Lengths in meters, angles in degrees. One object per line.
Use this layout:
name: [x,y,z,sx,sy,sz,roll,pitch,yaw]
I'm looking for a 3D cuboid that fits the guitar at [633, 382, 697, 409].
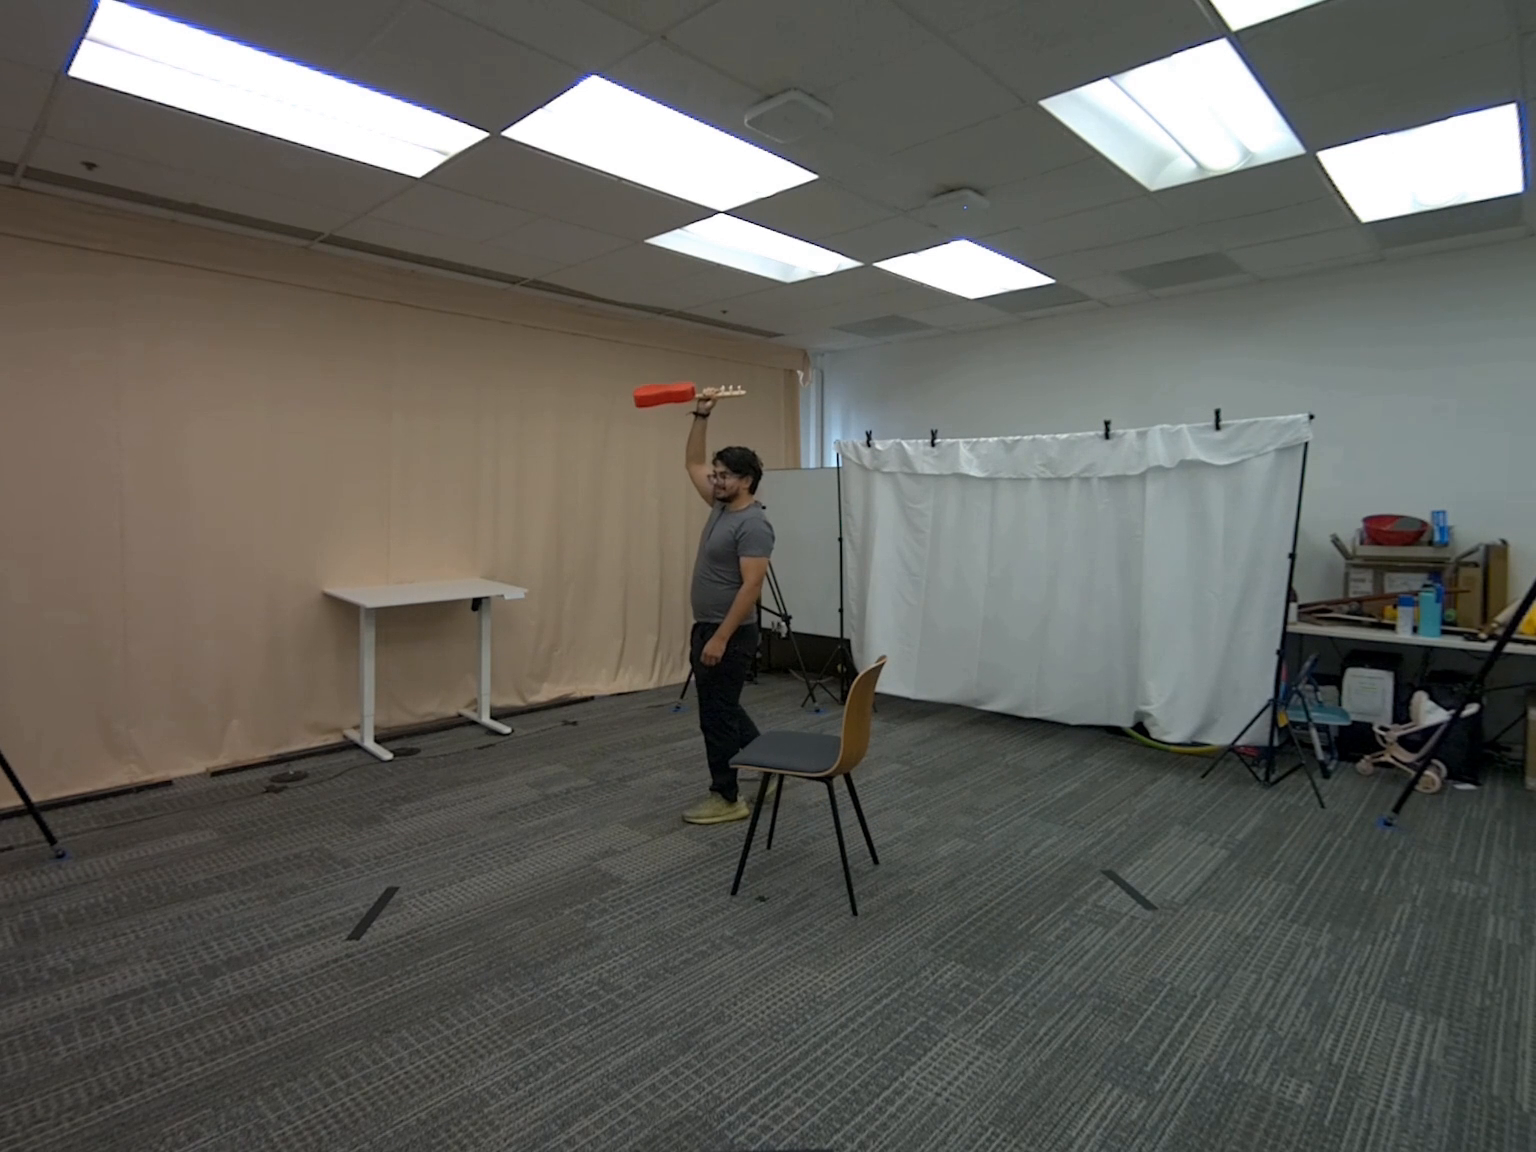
guitar: [-0.359,-0.822,3.781,0.497,0.069,0.196,-8,22,-1]
